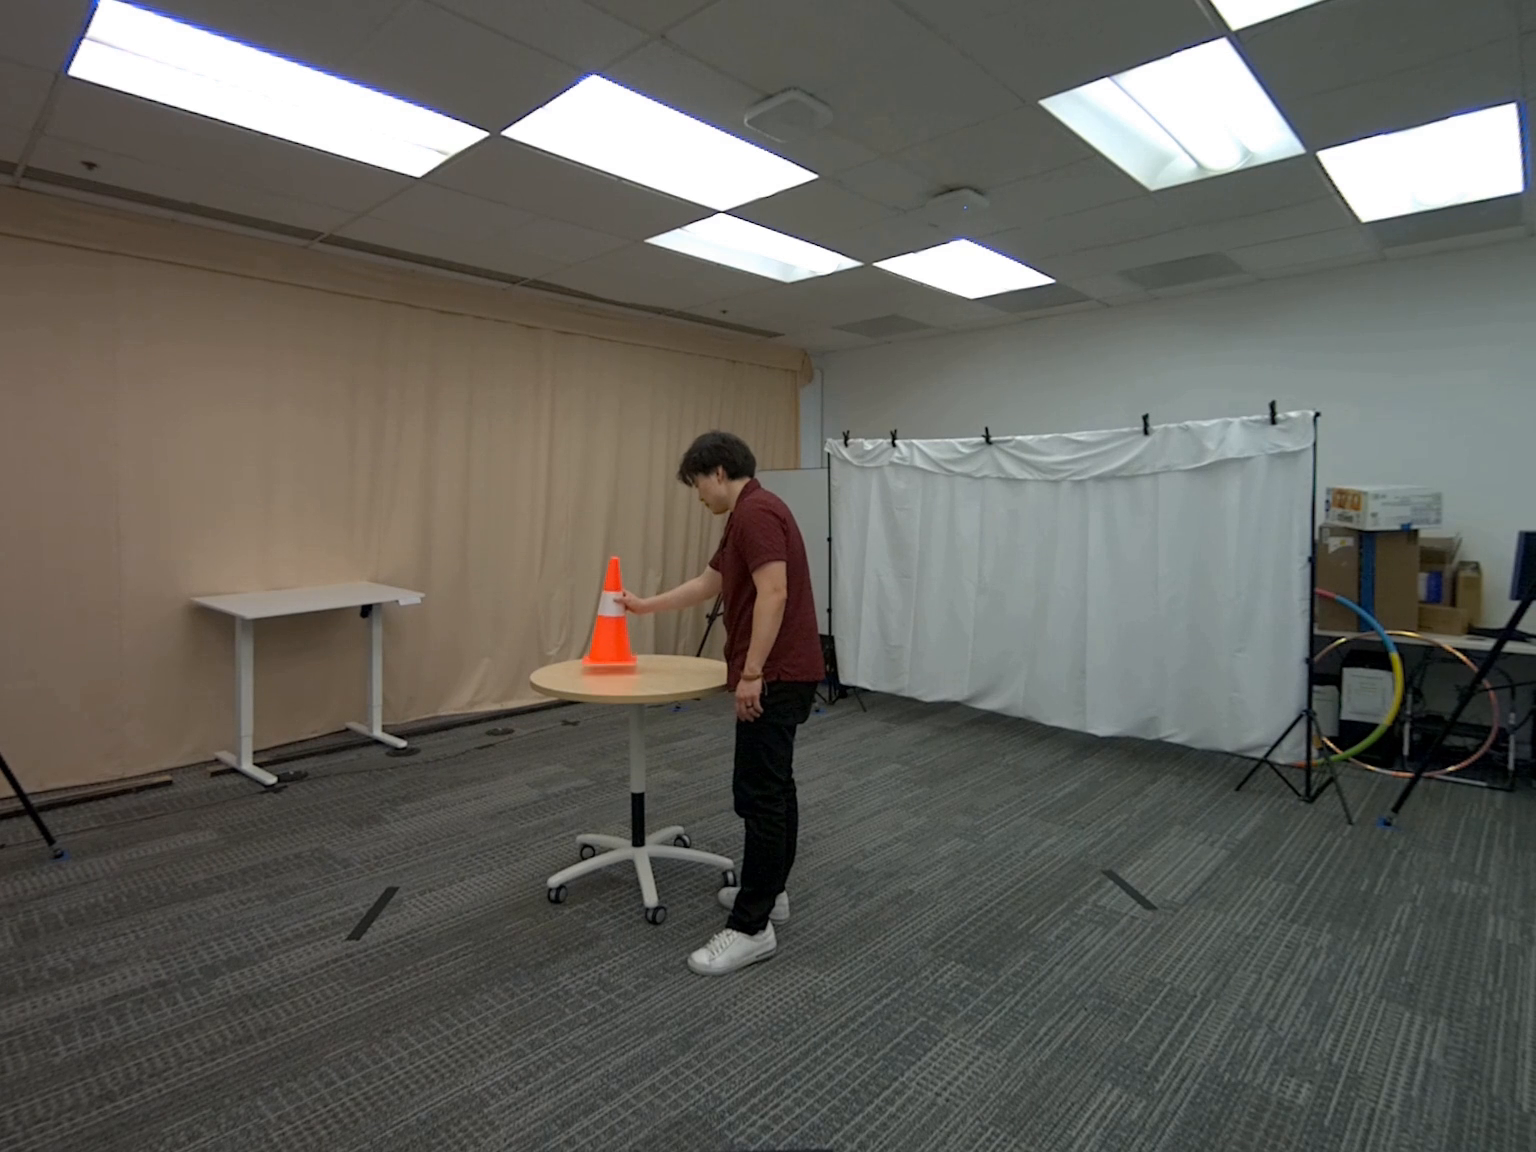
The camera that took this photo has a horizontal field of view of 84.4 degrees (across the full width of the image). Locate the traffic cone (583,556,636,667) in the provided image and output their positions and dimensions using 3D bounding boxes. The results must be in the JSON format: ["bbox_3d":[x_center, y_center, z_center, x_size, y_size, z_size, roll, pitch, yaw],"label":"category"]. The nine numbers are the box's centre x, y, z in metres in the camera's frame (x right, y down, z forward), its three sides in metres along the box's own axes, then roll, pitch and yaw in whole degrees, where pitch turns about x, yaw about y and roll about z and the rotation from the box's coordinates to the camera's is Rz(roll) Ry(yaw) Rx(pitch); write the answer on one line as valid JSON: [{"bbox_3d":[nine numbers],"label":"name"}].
[{"bbox_3d":[-0.575,0.120,3.128,0.203,0.383,0.205,4,3,-7],"label":"traffic cone"}]
